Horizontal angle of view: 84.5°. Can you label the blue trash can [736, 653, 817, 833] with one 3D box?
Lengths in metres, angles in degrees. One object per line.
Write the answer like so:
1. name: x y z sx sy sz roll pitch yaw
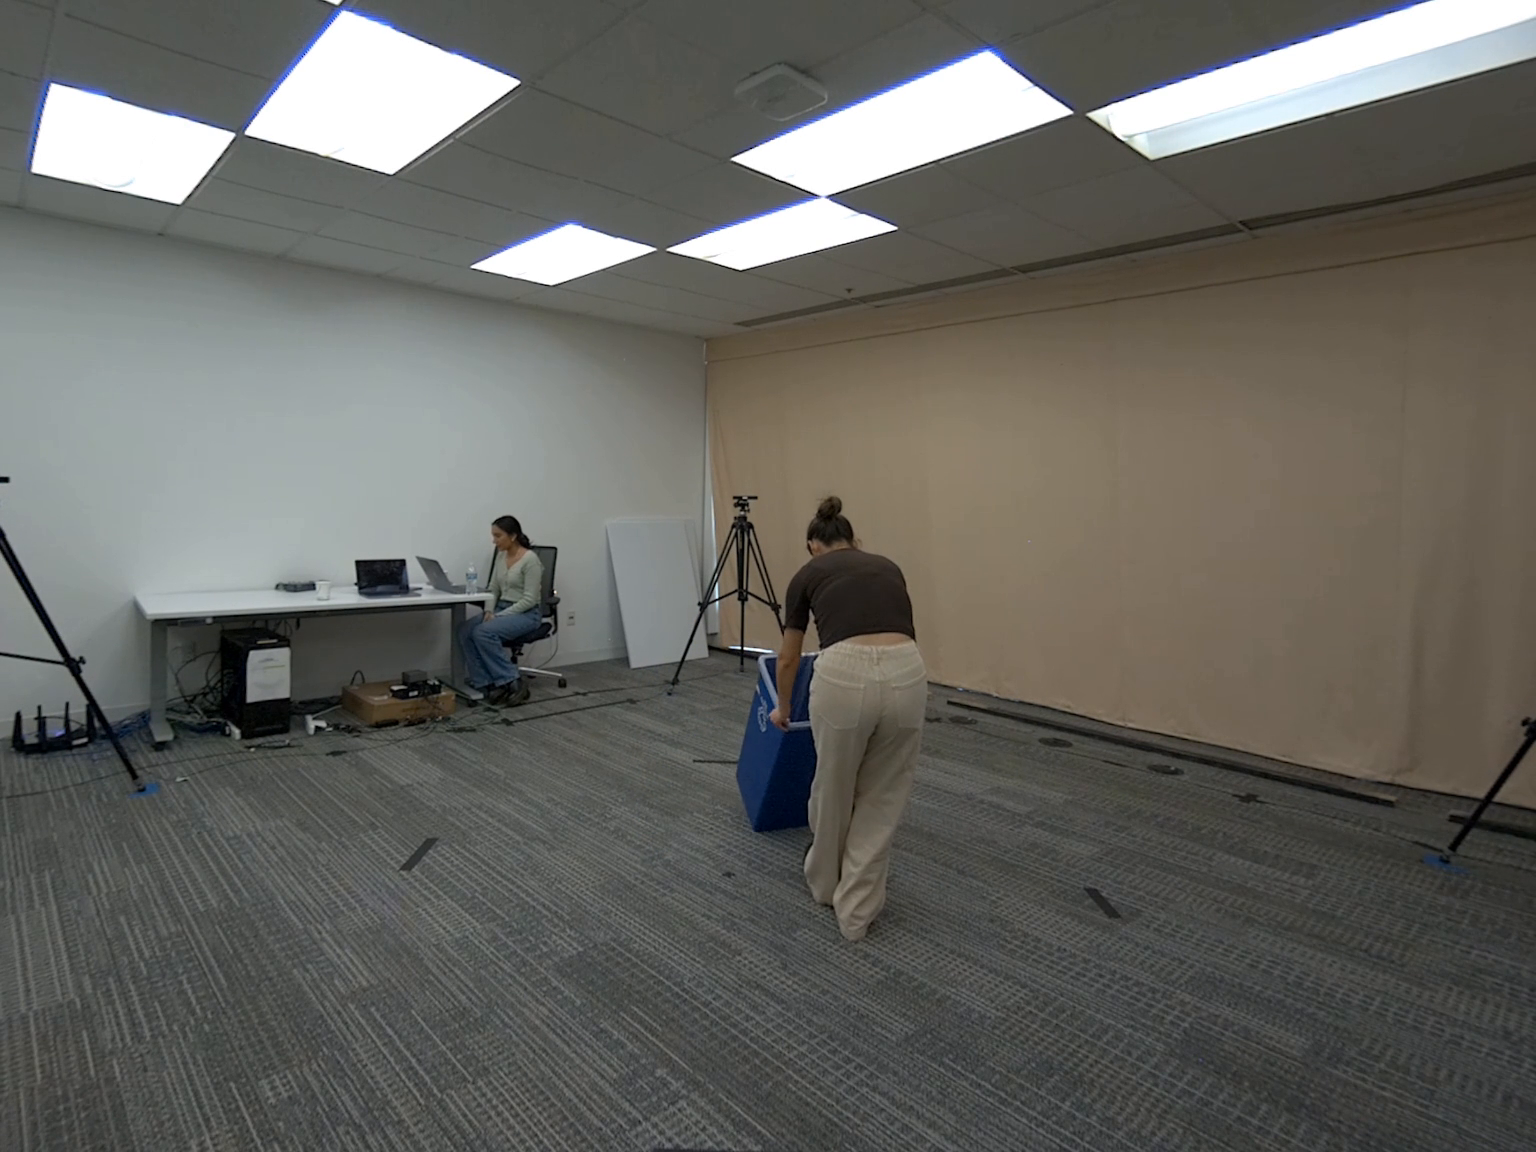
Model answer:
1. blue trash can: 0.115 0.702 3.451 0.372 0.702 0.385 -2 38 -20
